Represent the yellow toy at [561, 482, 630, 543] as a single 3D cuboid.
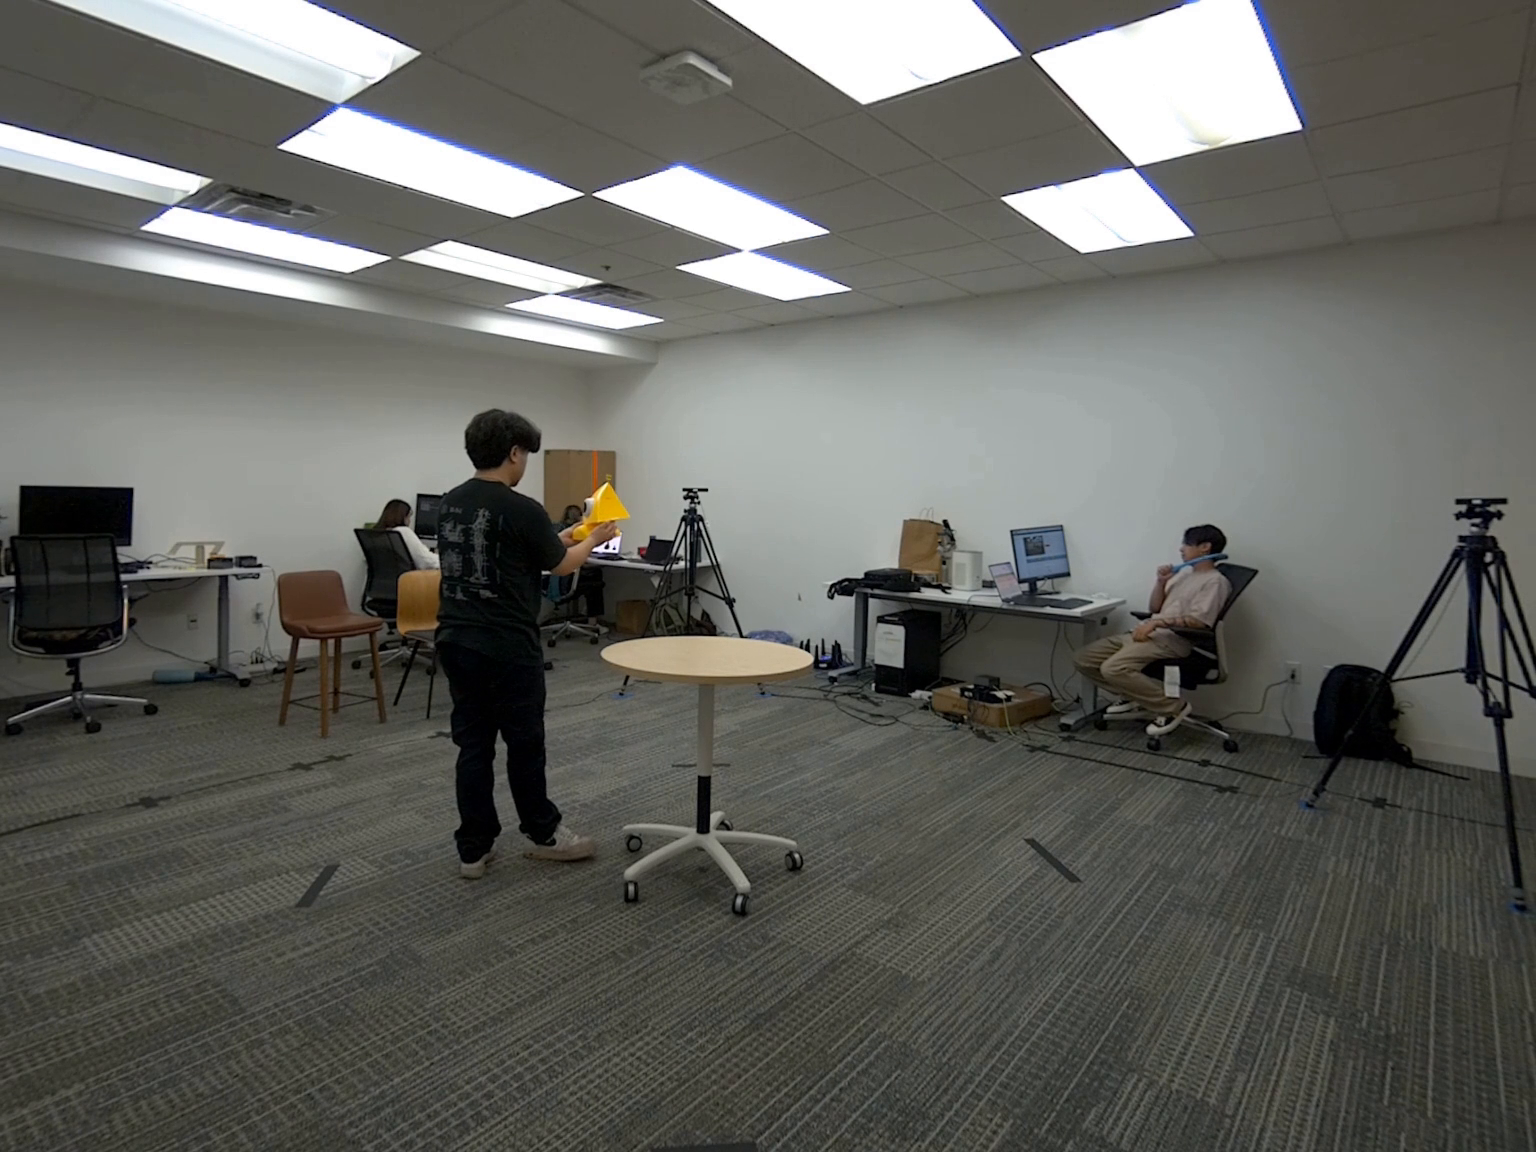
[{"bbox_3d":[-0.718,-0.279,3.516,0.199,0.229,0.200,6,11,31],"label":"yellow toy"}]
